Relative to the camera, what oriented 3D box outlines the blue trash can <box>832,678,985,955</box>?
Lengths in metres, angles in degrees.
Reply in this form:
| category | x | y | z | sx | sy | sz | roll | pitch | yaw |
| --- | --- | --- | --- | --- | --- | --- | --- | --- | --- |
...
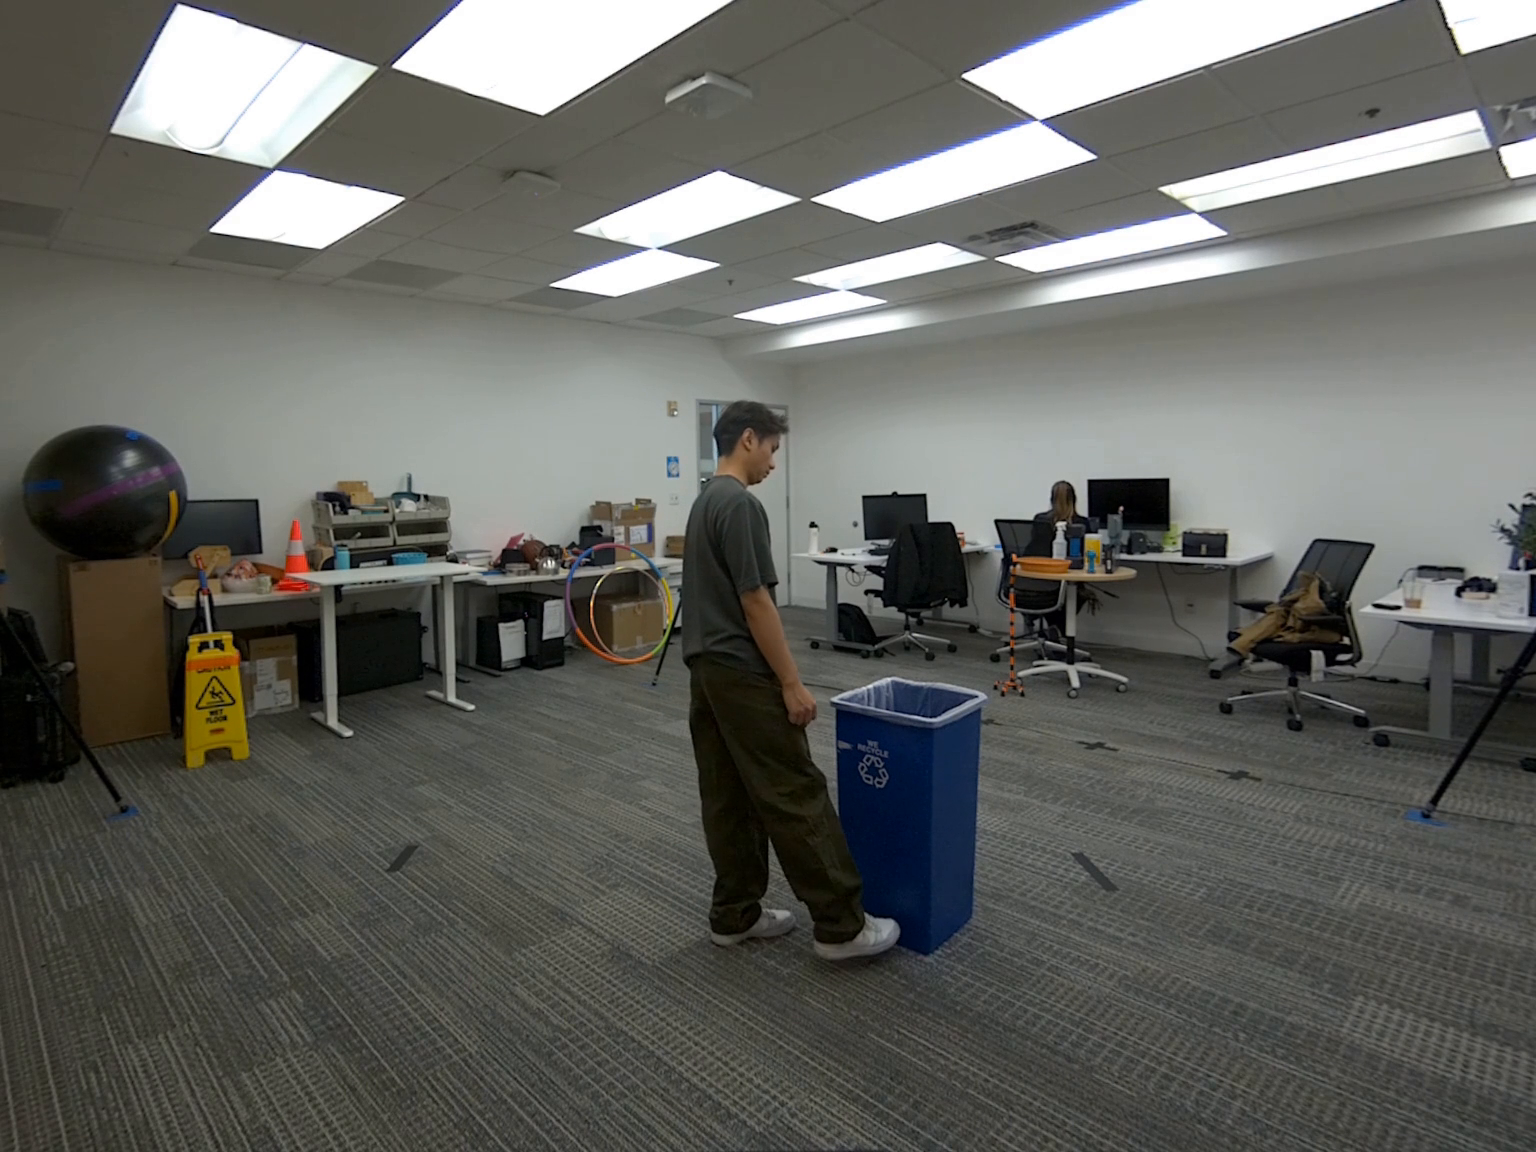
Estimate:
| category | x | y | z | sx | sy | sz | roll | pitch | yaw |
| --- | --- | --- | --- | --- | --- | --- | --- | --- | --- |
| blue trash can | 0.445 | 0.728 | 2.679 | 0.389 | 0.710 | 0.365 | 3 | 7 | 39 |
